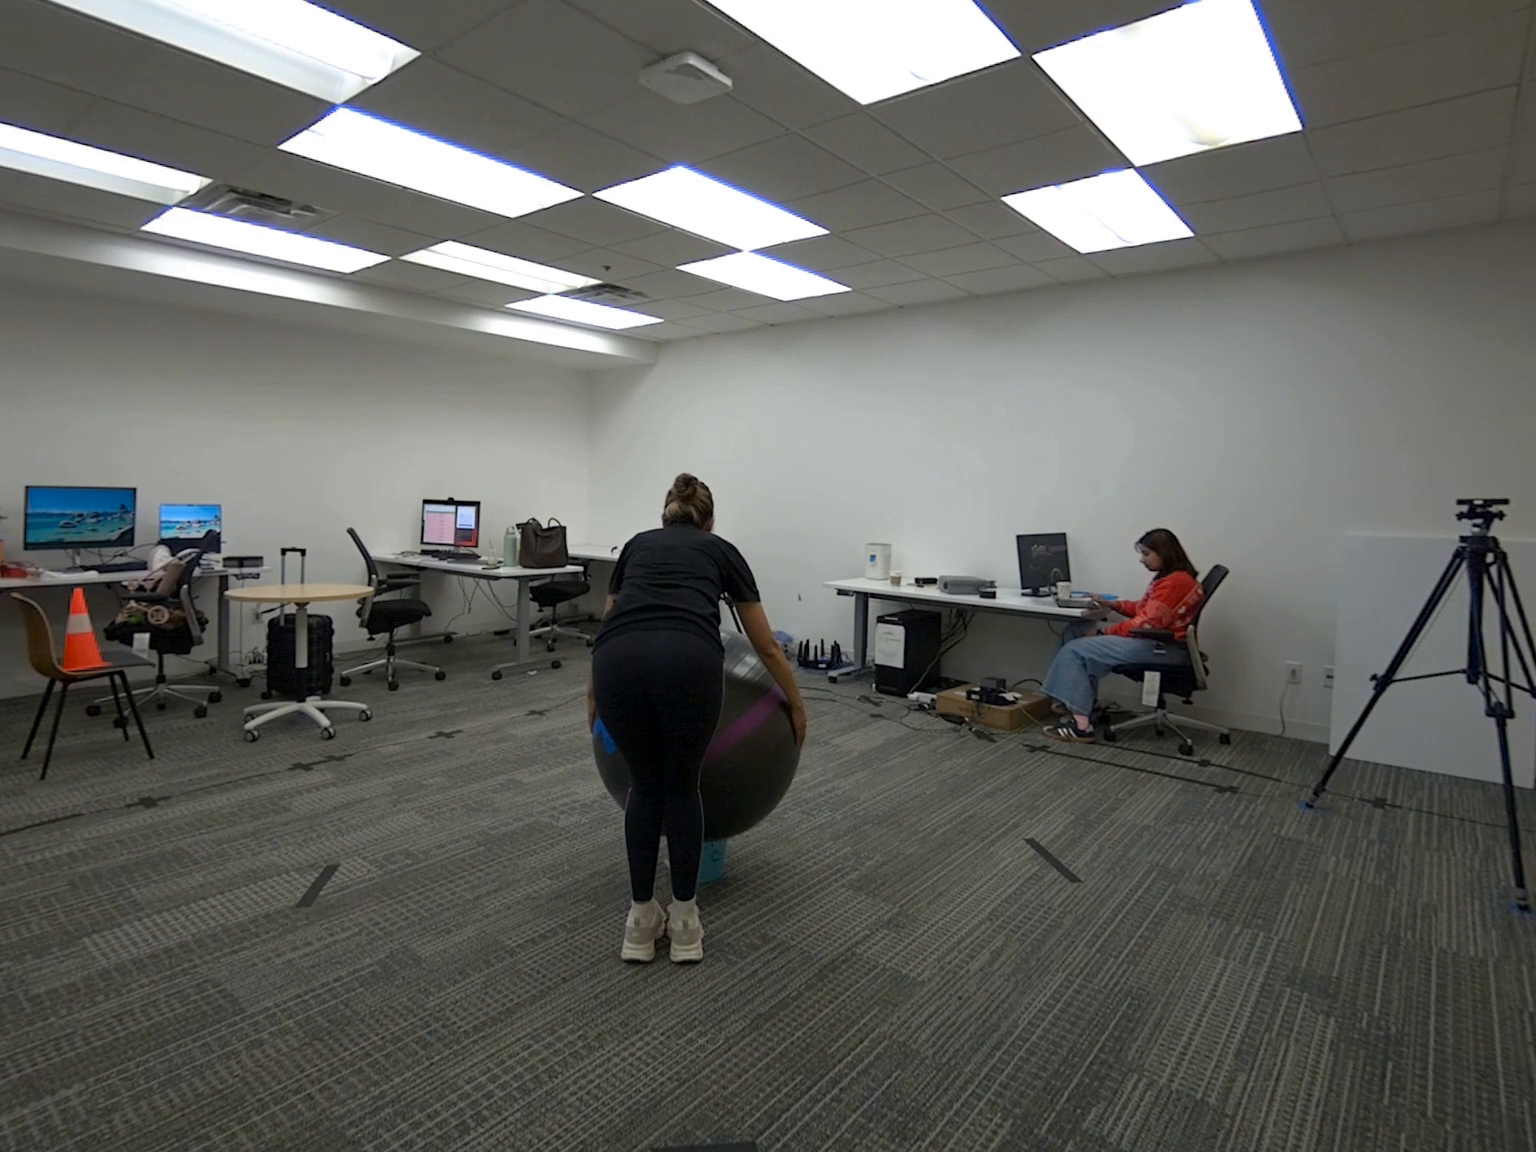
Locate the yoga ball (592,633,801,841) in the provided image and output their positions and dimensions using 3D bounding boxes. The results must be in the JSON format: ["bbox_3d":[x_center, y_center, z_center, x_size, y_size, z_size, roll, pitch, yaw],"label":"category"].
[{"bbox_3d":[-0.264,0.550,3.062,0.757,0.756,0.762,1,4,-2],"label":"yoga ball"}]
